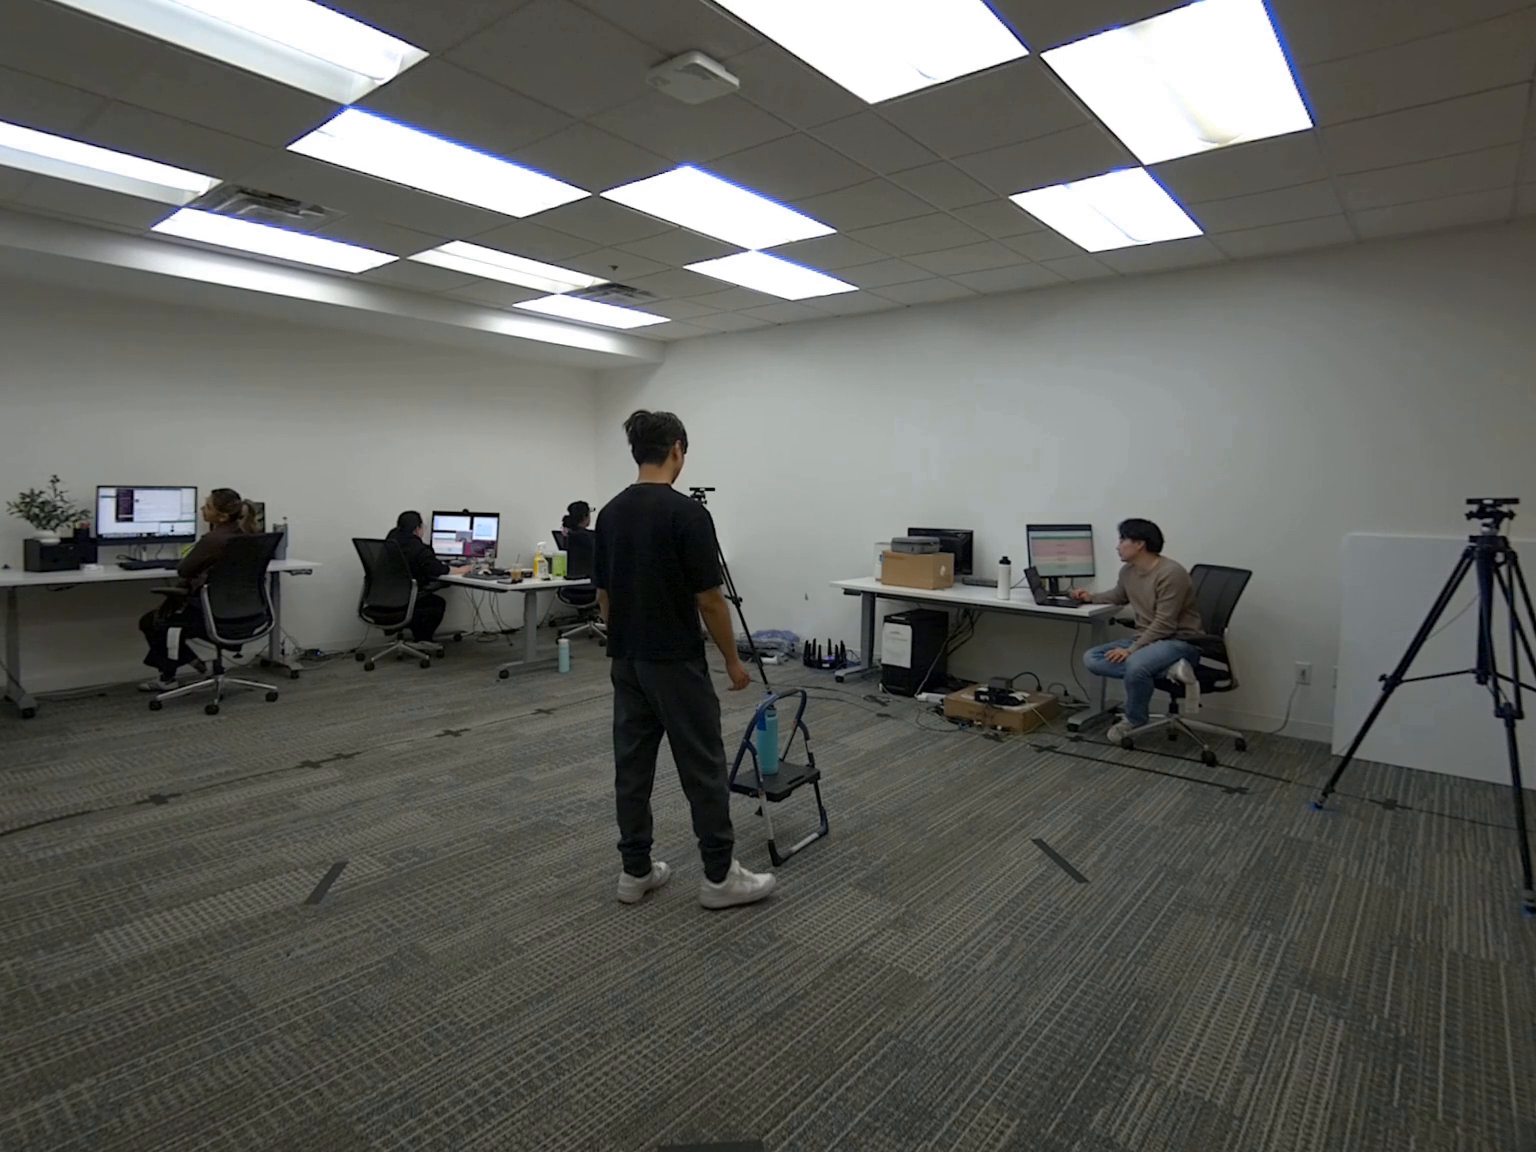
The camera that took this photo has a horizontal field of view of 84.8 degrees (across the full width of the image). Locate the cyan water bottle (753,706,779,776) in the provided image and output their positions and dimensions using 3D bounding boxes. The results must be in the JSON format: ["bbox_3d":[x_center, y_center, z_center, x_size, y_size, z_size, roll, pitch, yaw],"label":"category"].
[{"bbox_3d":[-0.015,0.640,3.408,0.092,0.283,0.092,1,2,-2],"label":"cyan water bottle"}]
